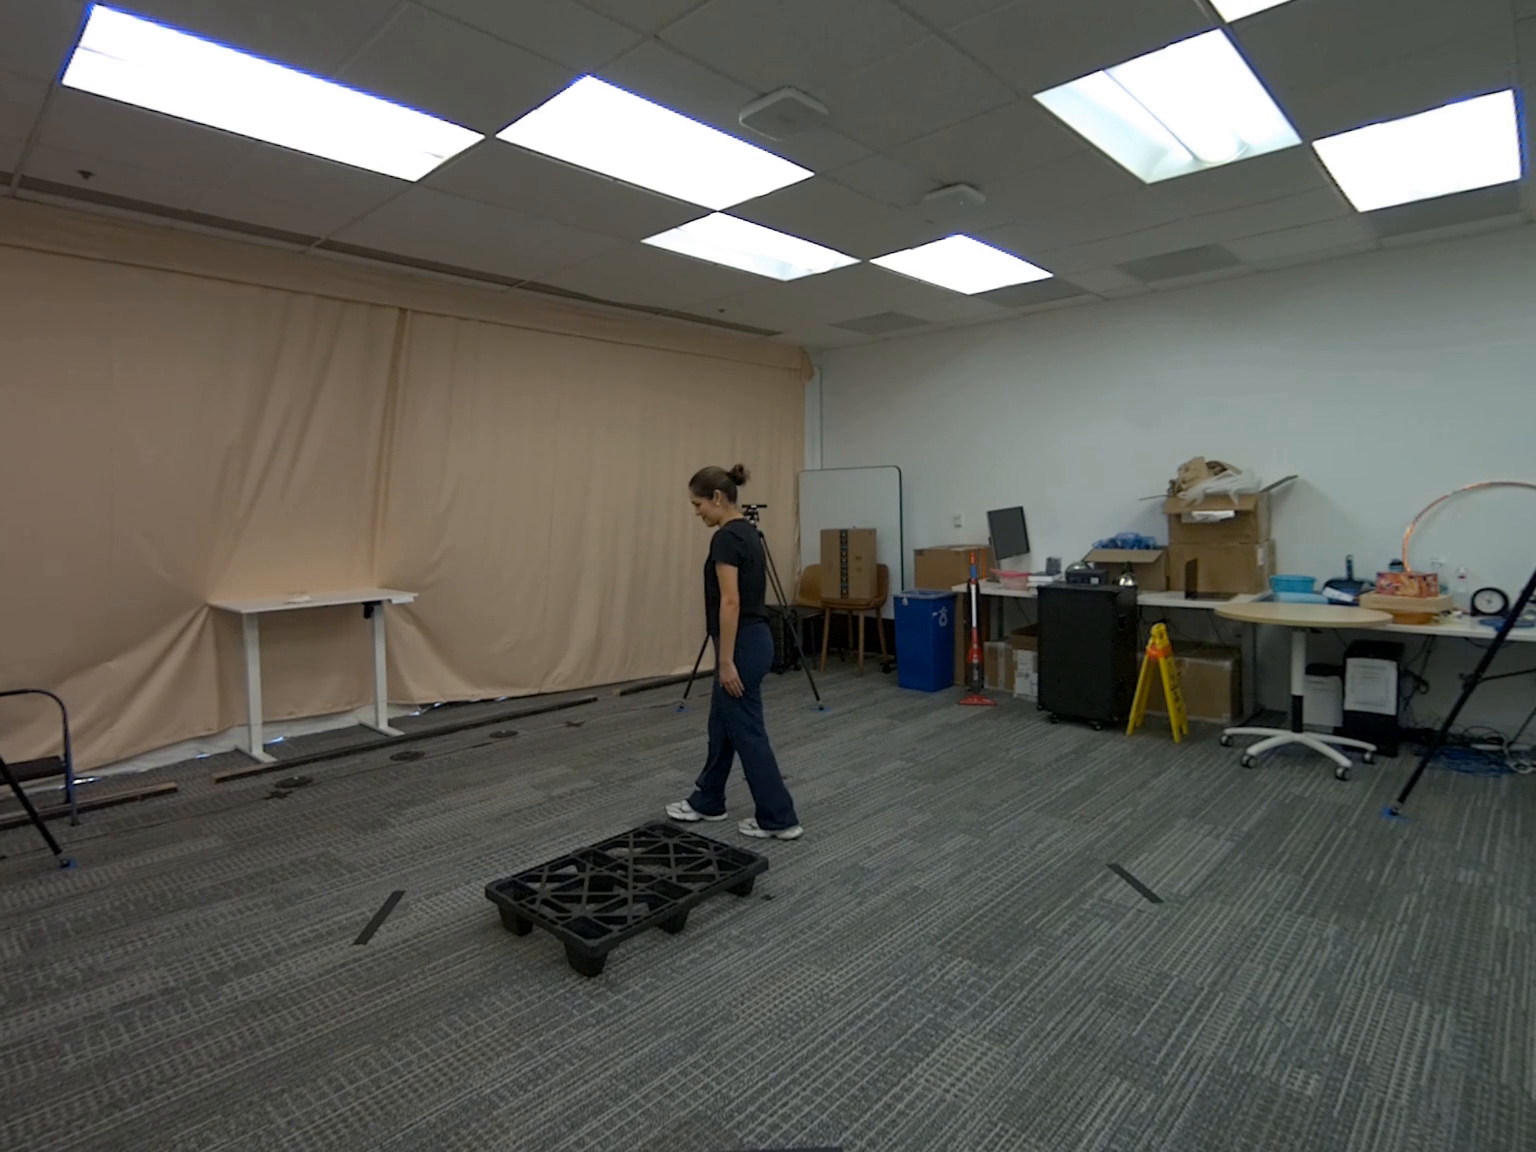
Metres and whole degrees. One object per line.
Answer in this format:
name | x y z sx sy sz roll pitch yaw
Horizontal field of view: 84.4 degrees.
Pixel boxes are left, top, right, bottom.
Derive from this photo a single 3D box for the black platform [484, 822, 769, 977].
black platform | -0.455 1.091 2.912 0.625 0.143 0.782 4 7 42
